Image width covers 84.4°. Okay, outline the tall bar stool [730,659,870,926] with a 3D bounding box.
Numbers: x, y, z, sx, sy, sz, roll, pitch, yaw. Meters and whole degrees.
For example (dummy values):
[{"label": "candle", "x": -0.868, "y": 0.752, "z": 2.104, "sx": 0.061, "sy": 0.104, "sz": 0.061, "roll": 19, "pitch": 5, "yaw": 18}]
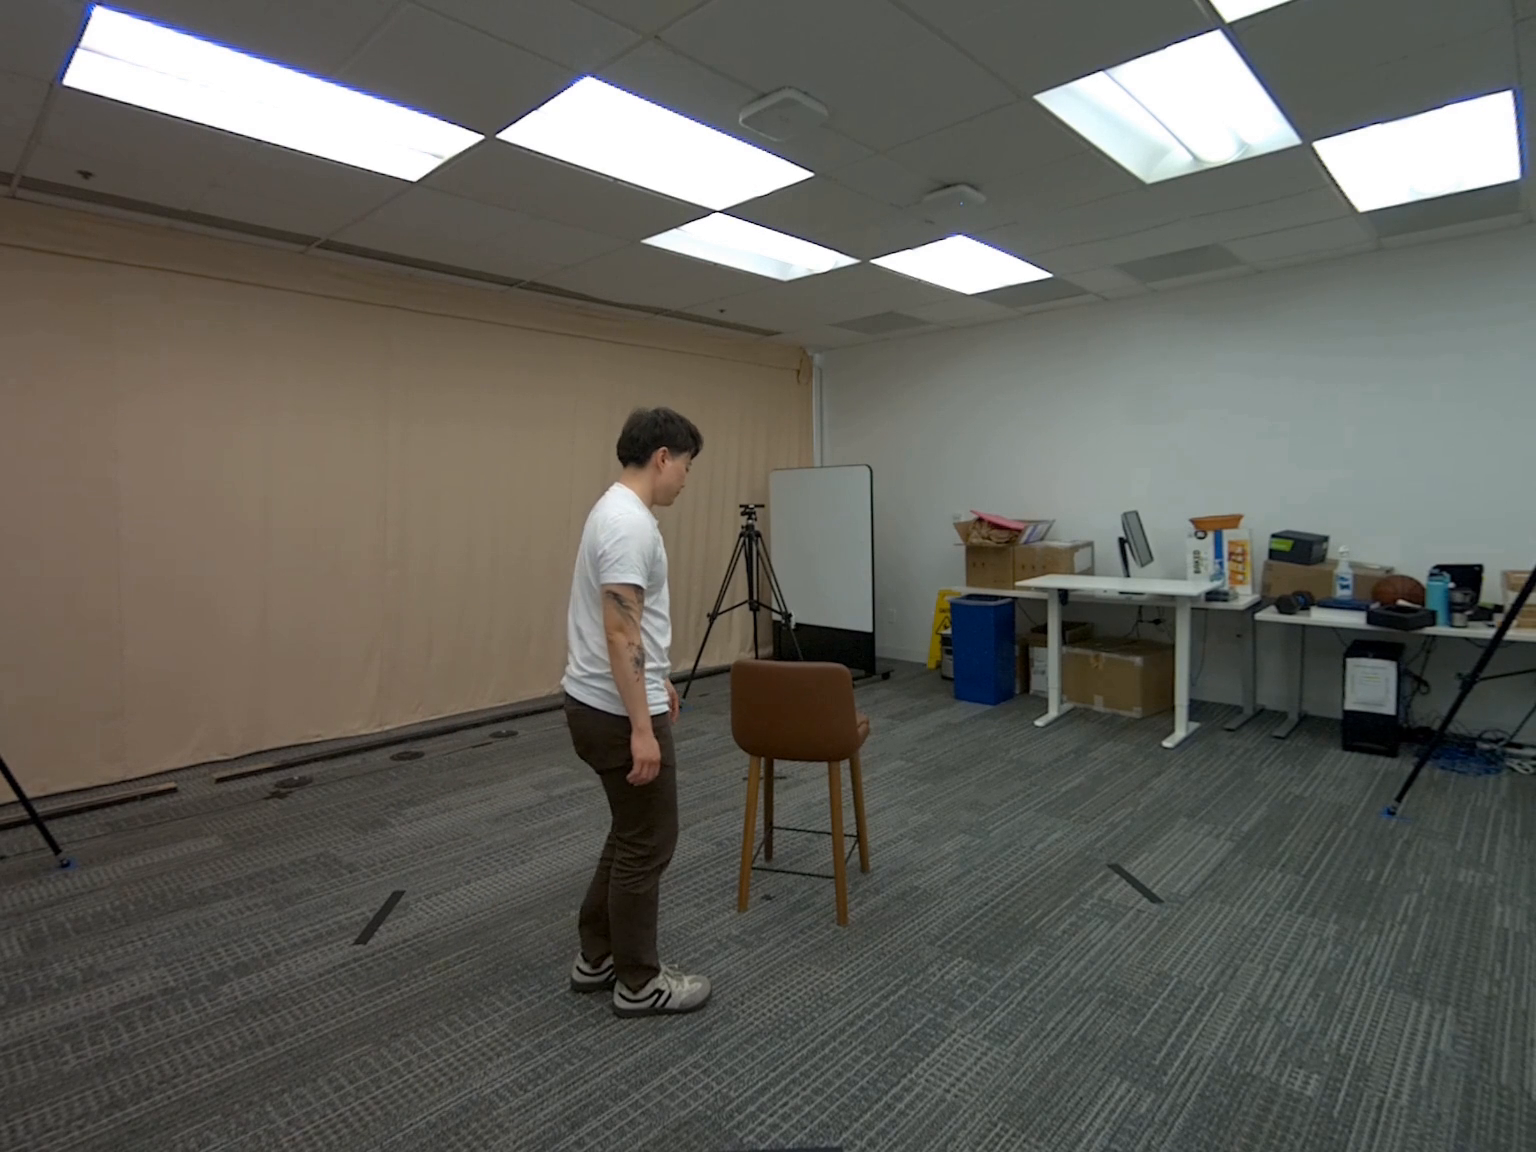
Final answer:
[{"label": "tall bar stool", "x": 0.126, "y": 0.701, "z": 3.009, "sx": 0.465, "sy": 0.887, "sz": 0.460, "roll": 0, "pitch": 5, "yaw": 18}]
